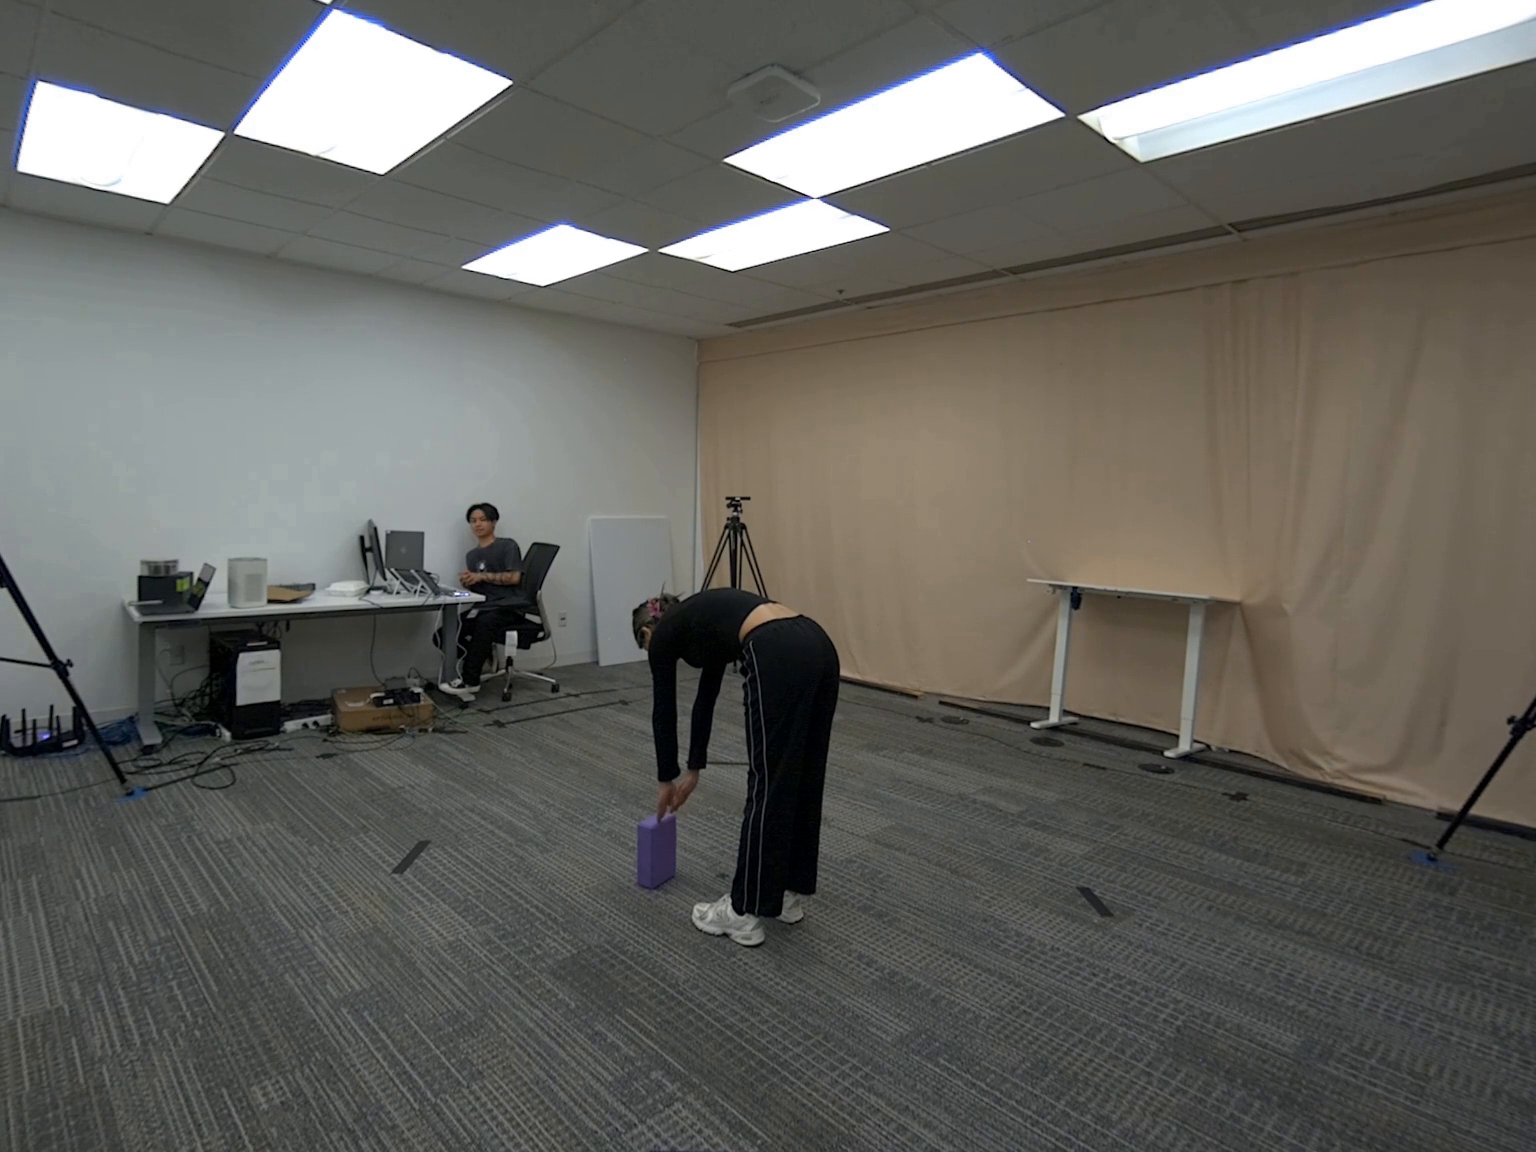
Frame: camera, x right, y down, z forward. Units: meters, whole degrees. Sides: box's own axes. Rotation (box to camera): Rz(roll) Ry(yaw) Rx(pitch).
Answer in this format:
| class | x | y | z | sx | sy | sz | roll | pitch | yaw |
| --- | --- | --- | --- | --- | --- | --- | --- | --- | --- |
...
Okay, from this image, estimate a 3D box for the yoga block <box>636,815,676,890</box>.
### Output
| class | x | y | z | sx | sy | sz | roll | pitch | yaw |
| --- | --- | --- | --- | --- | --- | --- | --- | --- | --- |
| yoga block | -0.409 | 0.991 | 3.043 | 0.078 | 0.229 | 0.146 | 3 | 5 | 30 |
